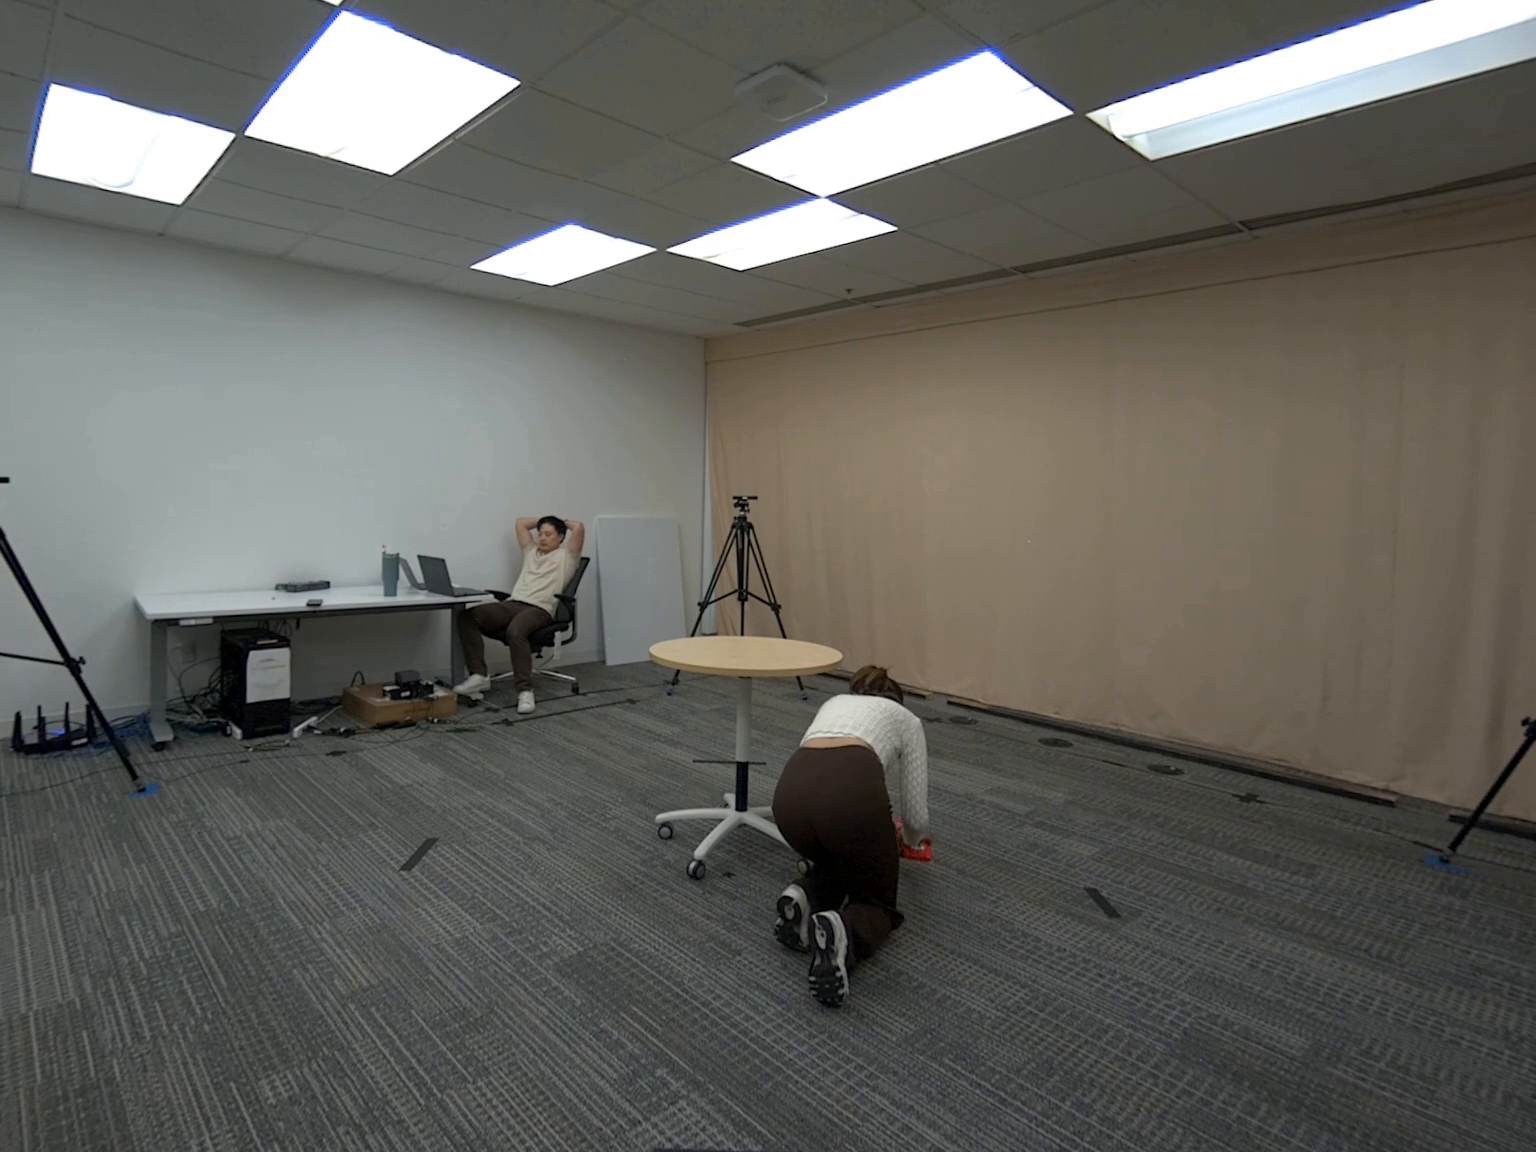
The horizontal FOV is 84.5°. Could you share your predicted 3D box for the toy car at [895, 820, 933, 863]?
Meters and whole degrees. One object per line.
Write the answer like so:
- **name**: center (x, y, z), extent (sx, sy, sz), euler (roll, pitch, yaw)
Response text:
- **toy car**: center (0.536, 1.006, 3.131), extent (0.130, 0.083, 0.255), euler (12, 2, -3)
